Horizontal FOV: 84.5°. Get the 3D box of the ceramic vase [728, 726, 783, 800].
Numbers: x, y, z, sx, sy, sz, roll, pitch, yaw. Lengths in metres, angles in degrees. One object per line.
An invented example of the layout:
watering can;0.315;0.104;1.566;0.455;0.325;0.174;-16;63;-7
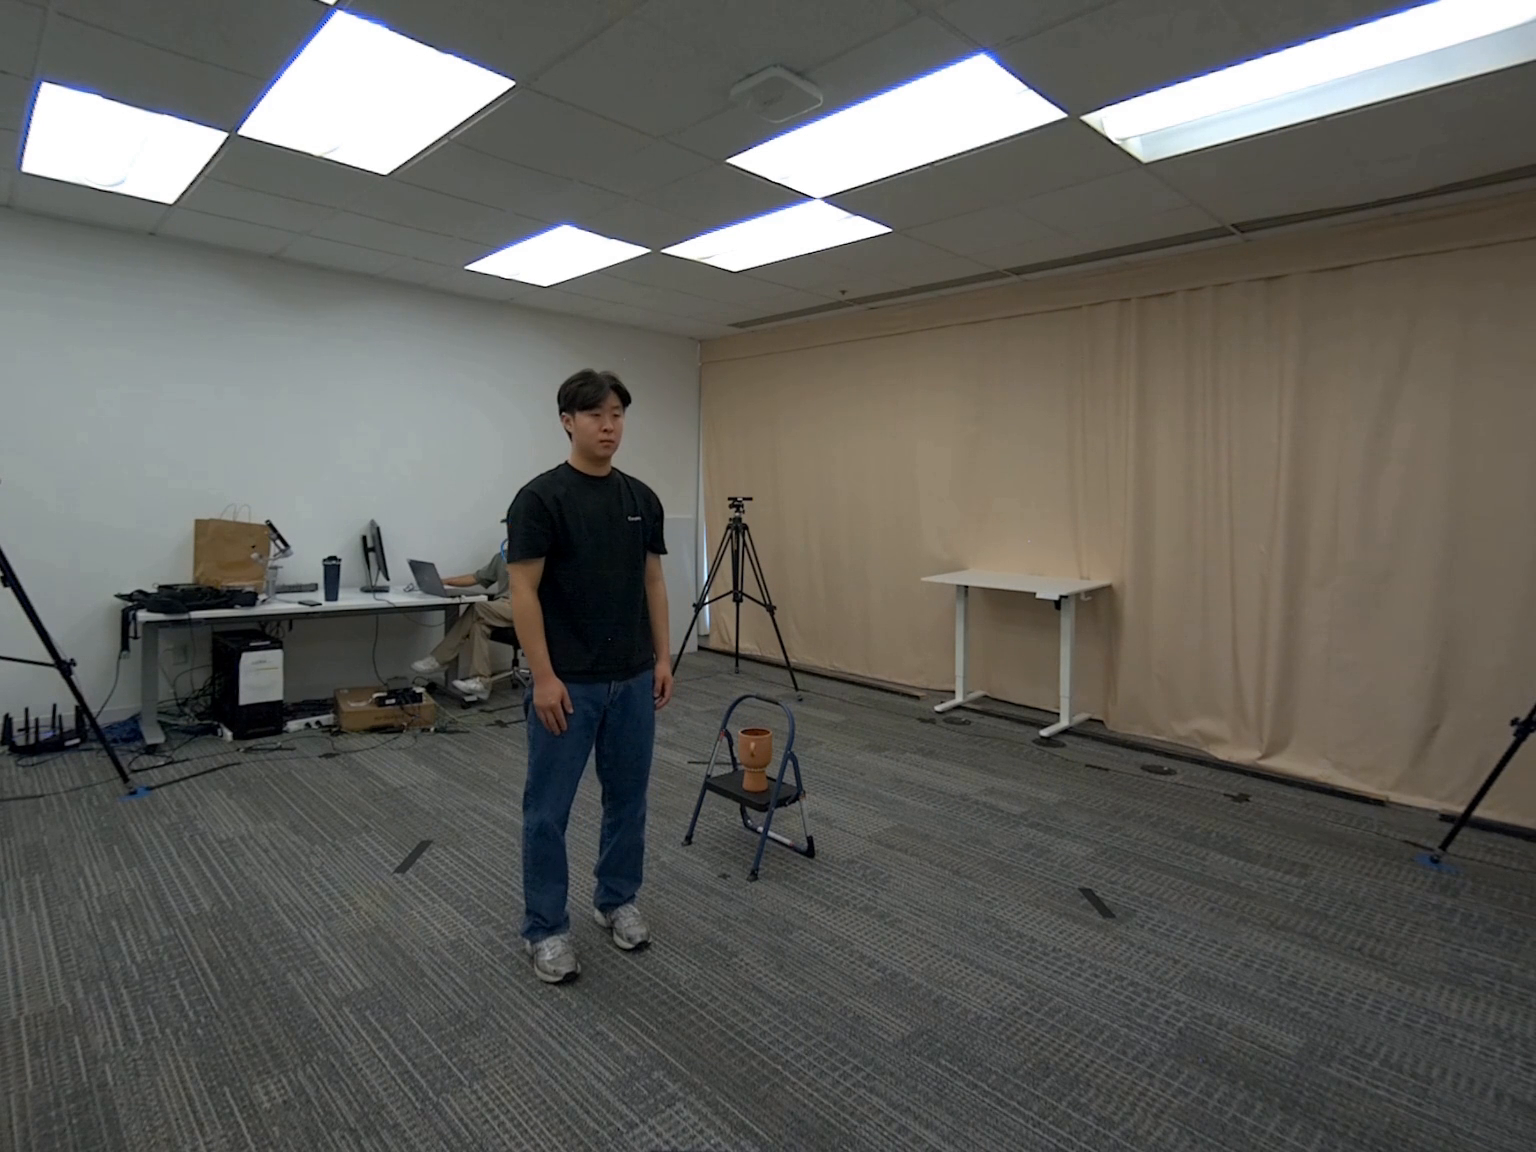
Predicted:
ceramic vase;-0.050;0.722;3.294;0.138;0.219;0.155;4;4;39
